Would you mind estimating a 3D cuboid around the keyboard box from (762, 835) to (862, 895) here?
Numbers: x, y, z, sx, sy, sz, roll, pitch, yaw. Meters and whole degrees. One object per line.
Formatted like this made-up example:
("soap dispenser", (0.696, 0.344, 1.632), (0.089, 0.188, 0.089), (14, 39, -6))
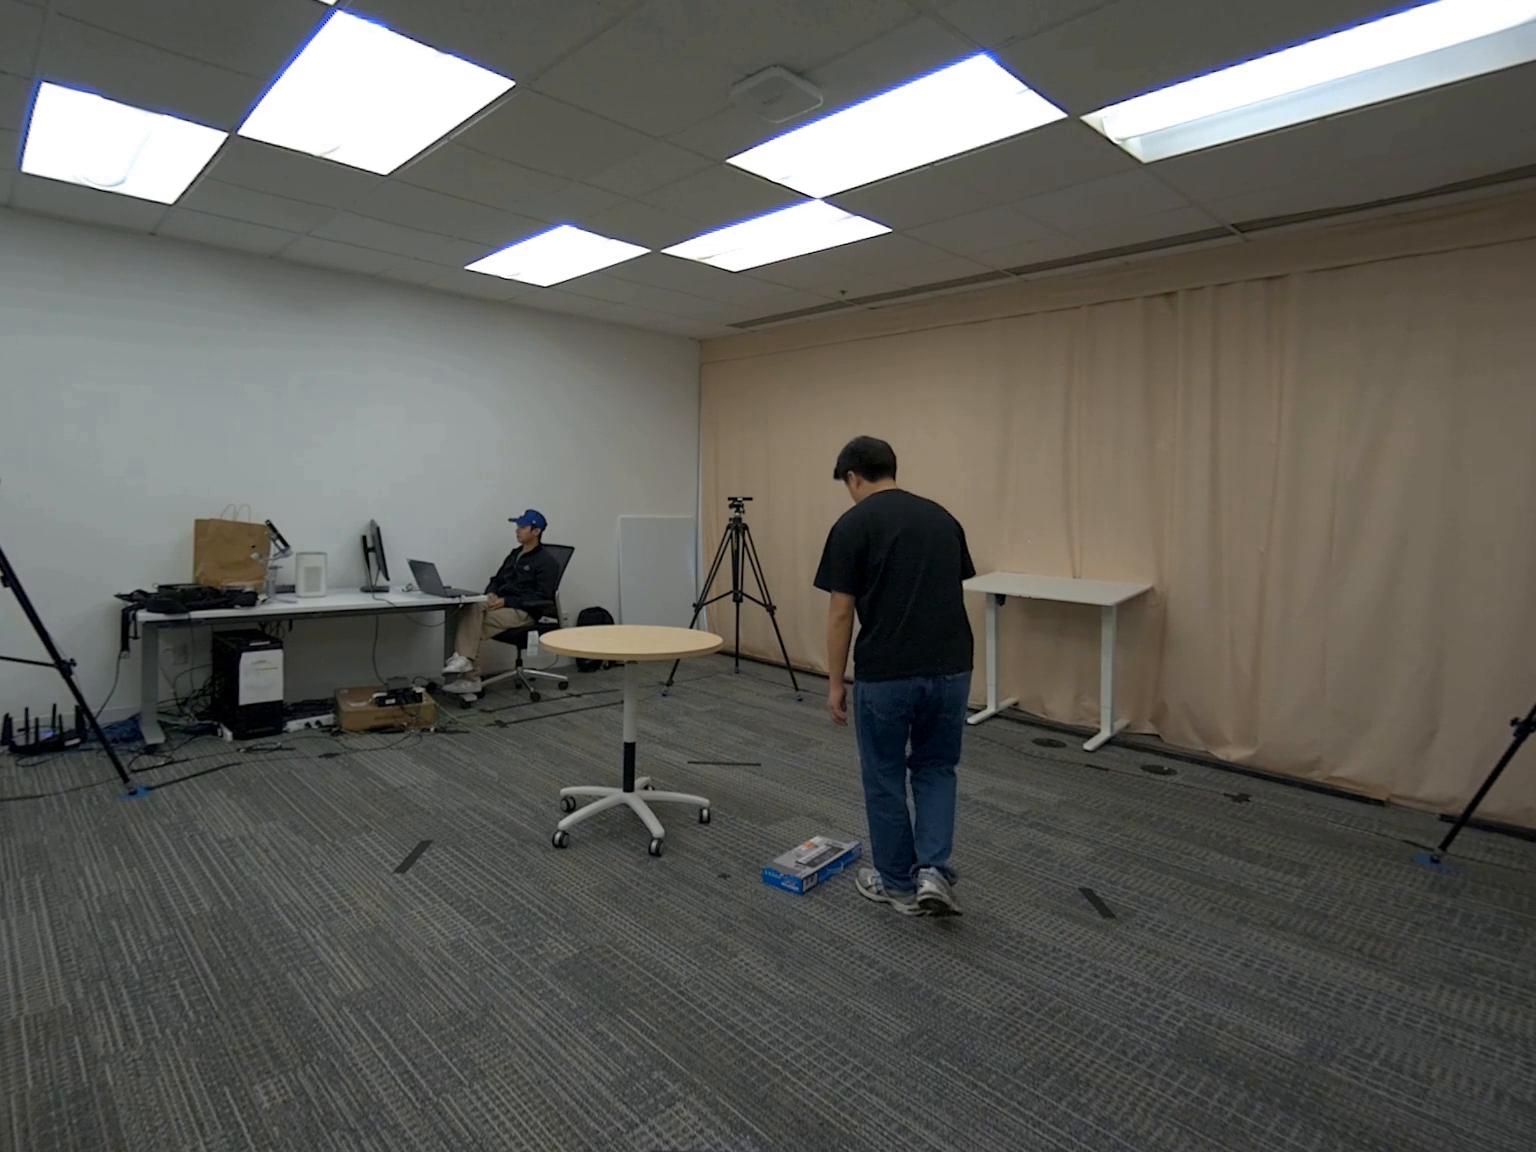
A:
("keyboard box", (0.166, 1.079, 3.186), (0.180, 0.059, 0.427), (4, 6, 37))
